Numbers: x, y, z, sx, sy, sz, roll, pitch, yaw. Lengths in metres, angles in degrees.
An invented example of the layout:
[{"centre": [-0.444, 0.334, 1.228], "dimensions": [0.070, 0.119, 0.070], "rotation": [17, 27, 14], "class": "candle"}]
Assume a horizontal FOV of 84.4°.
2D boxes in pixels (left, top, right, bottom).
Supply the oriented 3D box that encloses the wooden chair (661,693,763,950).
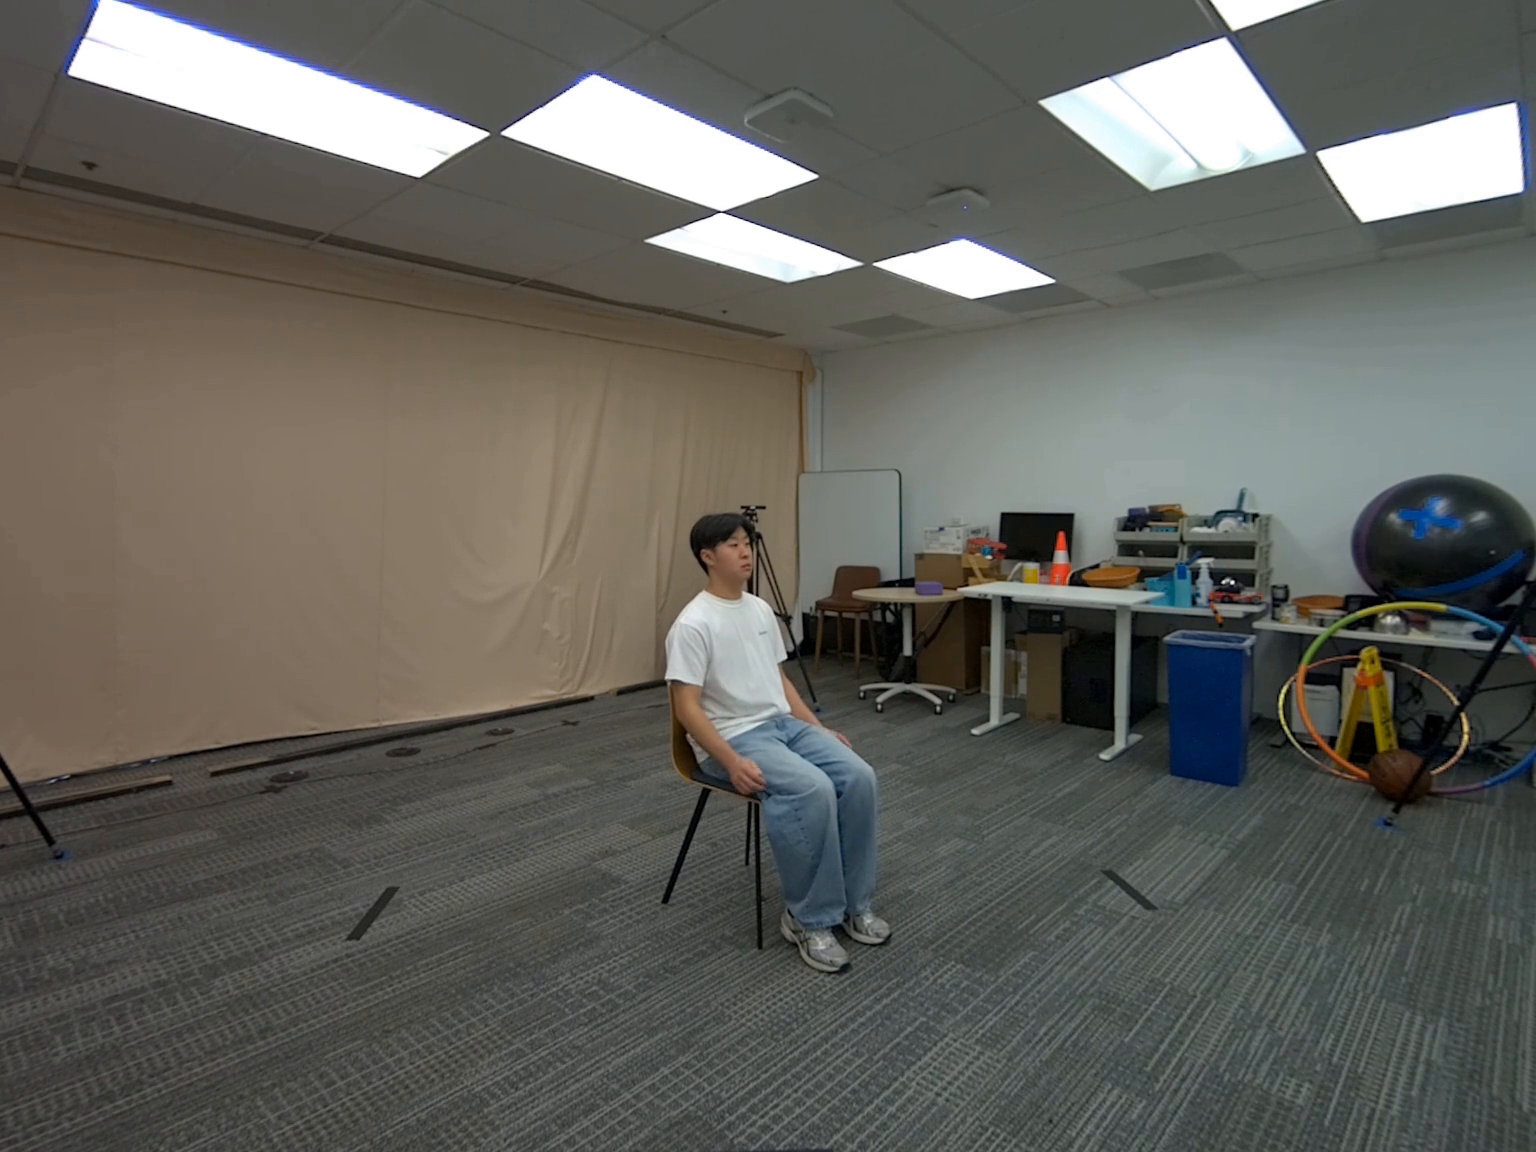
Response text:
[{"centre": [-0.053, 0.720, 2.929], "dimensions": [0.539, 0.877, 0.463], "rotation": [-4, 1, 42], "class": "wooden chair"}]
